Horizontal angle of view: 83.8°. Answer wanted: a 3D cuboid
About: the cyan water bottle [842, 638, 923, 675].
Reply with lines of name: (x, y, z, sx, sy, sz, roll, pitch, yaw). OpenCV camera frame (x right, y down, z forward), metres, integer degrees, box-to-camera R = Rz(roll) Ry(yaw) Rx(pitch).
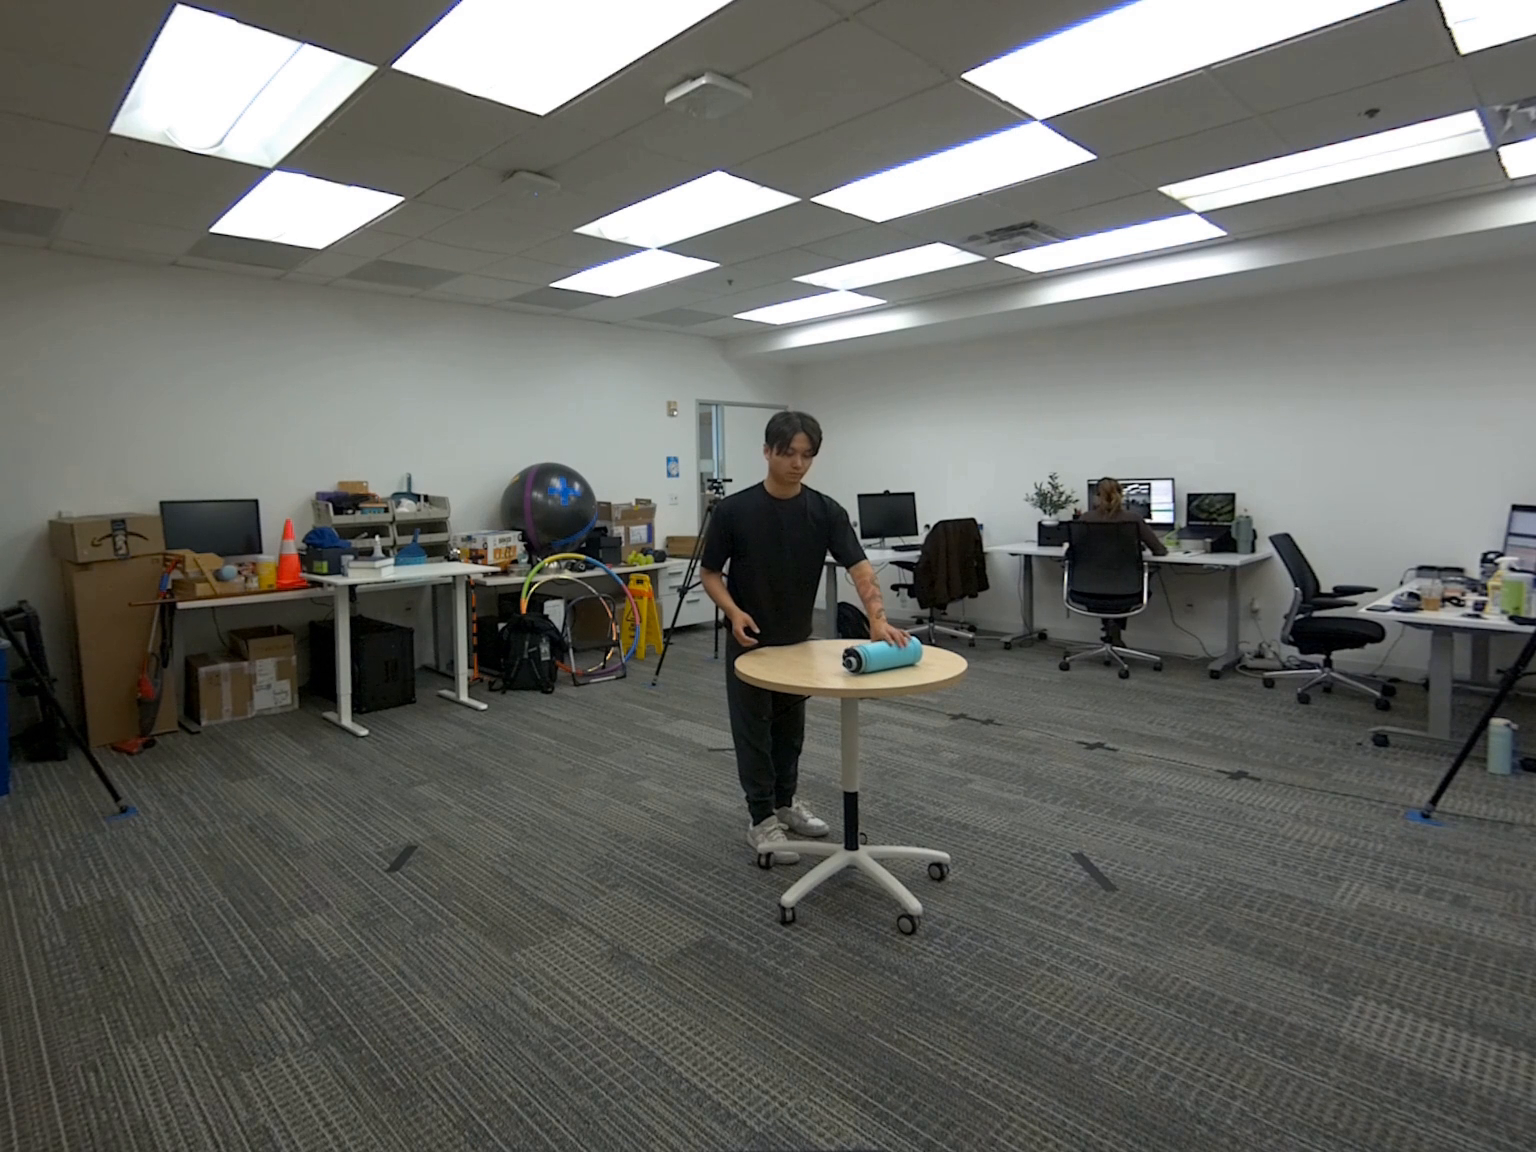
cyan water bottle: (0.356, 0.251, 2.718, 0.277, 0.092, 0.095, -5, 6, -31)
